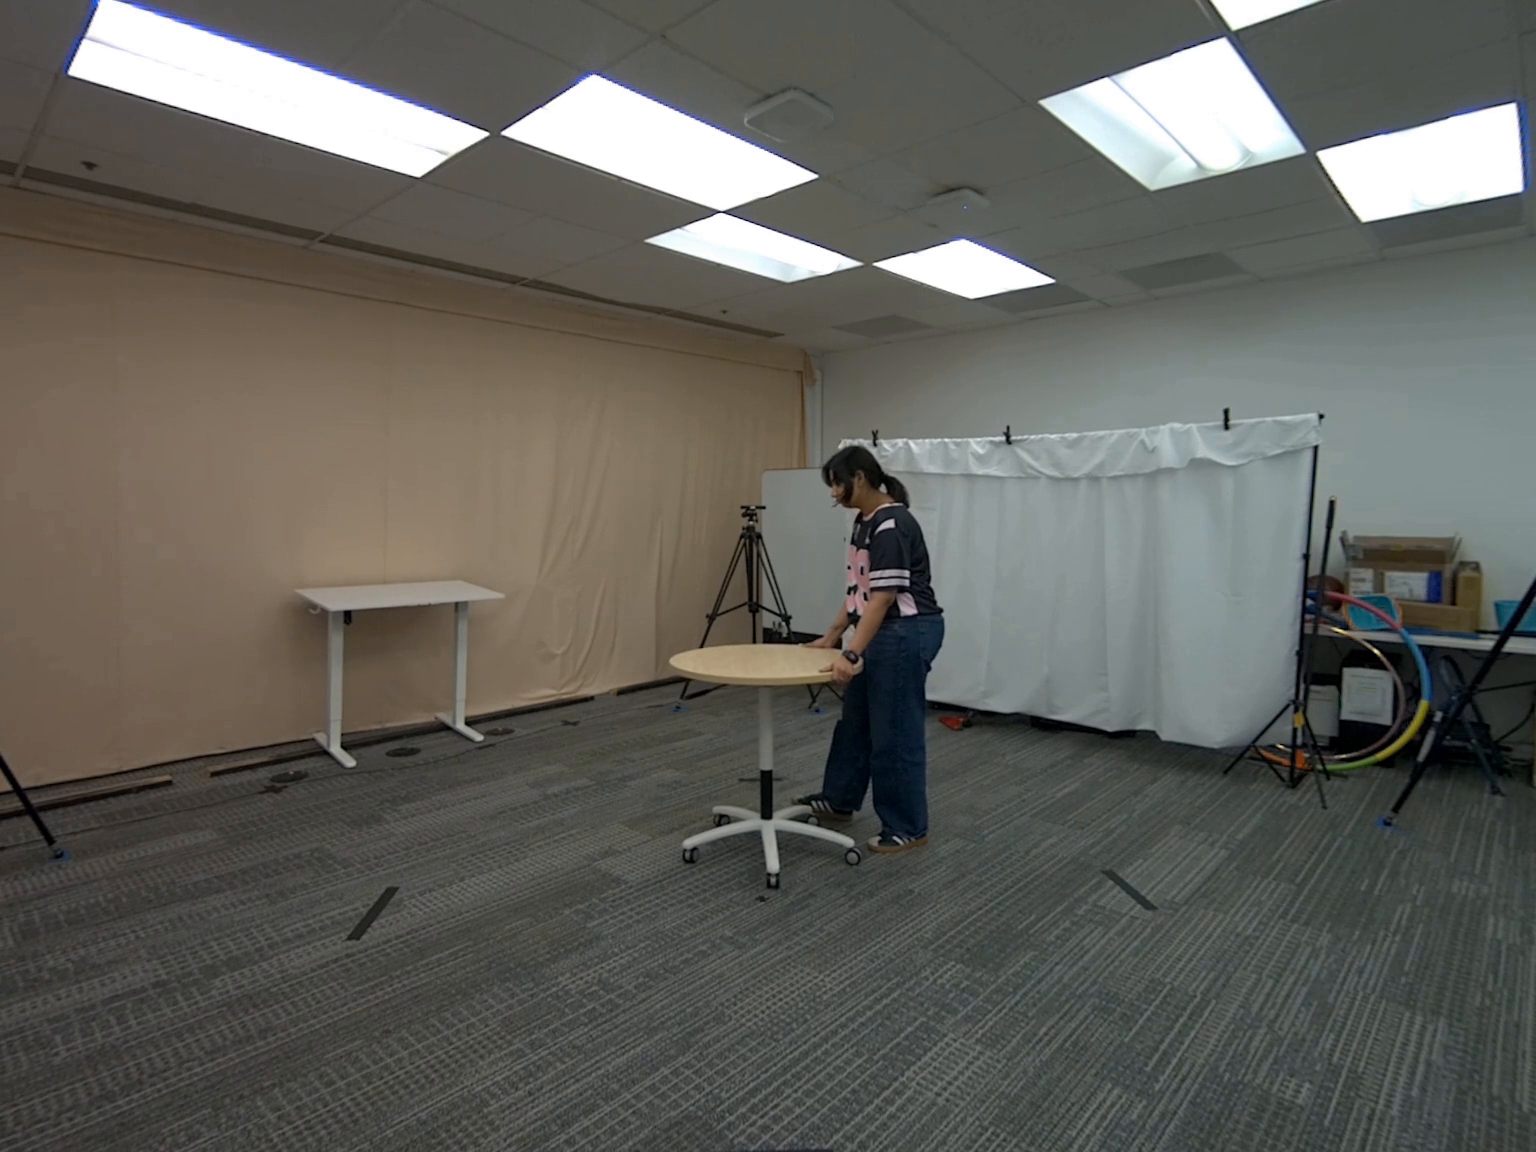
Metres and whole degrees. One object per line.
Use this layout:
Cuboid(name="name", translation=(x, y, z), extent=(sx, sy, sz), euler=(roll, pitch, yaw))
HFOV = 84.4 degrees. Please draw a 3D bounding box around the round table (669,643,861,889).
Cuboid(name="round table", translation=(-0.001, 0.721, 3.358), extent=(0.784, 0.785, 0.788), euler=(-1, 3, -2))
